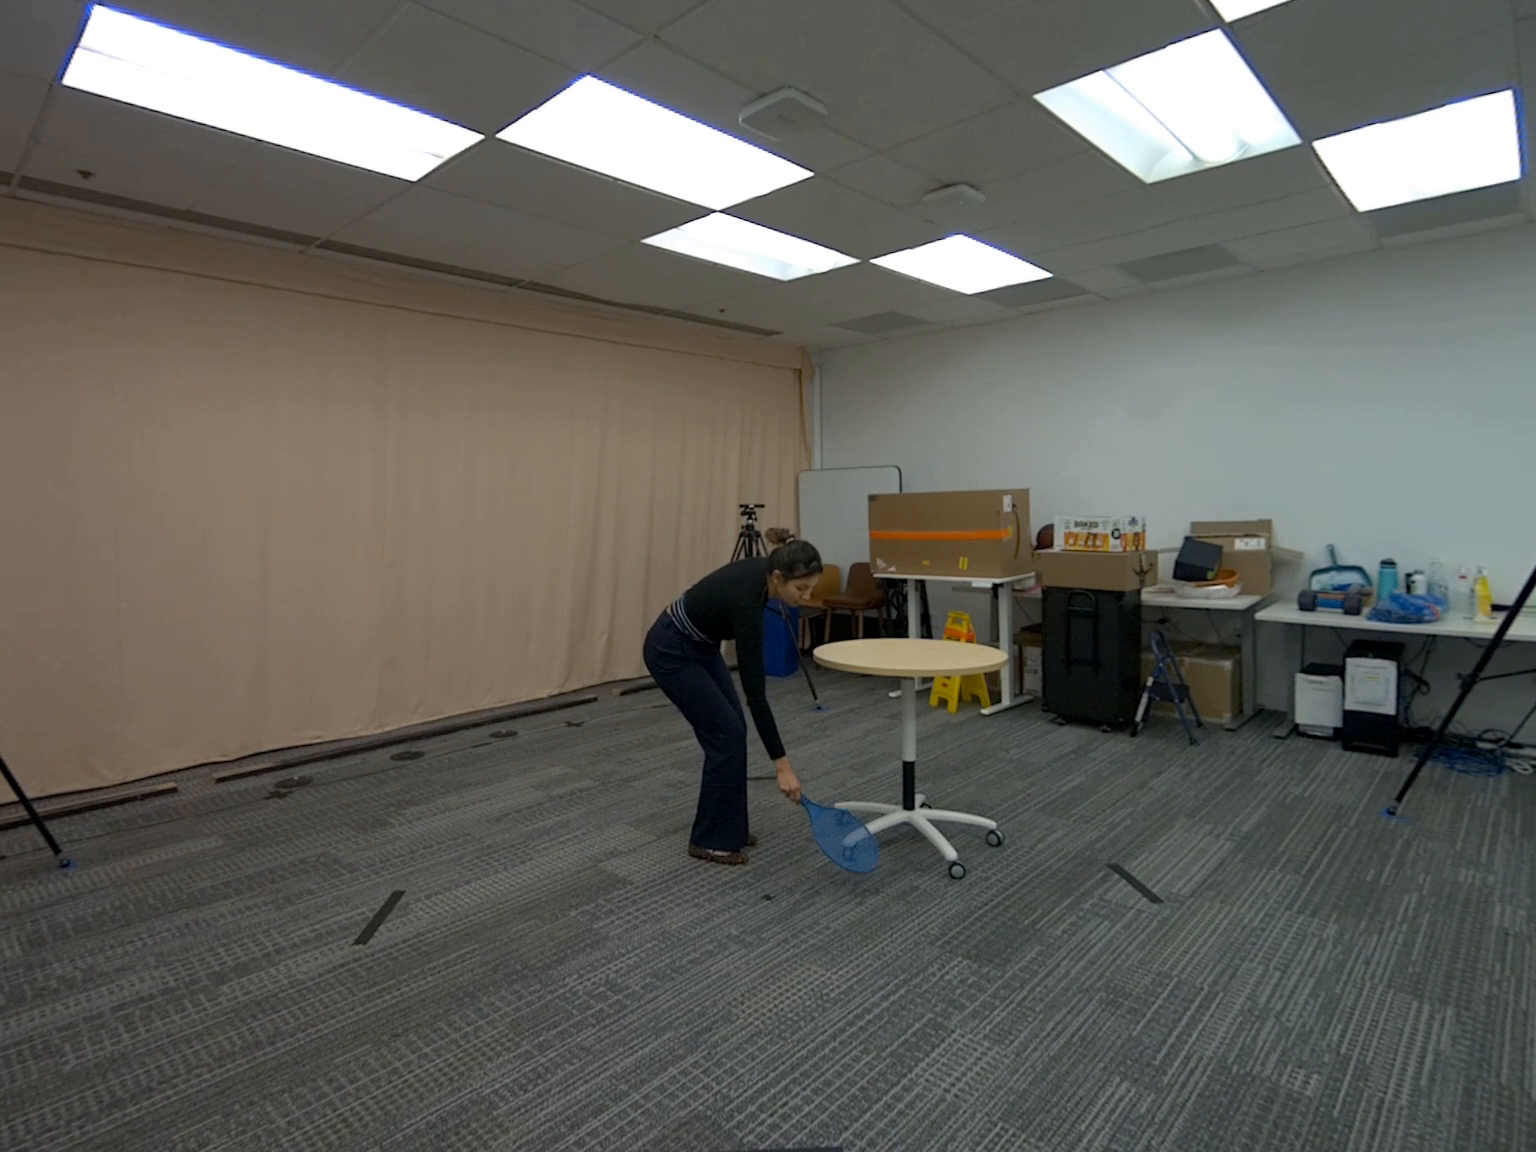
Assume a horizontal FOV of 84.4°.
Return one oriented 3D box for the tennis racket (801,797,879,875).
[{"bbox_3d":[0.221,0.879,3.024,0.441,0.031,0.210,38,43,15],"label":"tennis racket"}]
